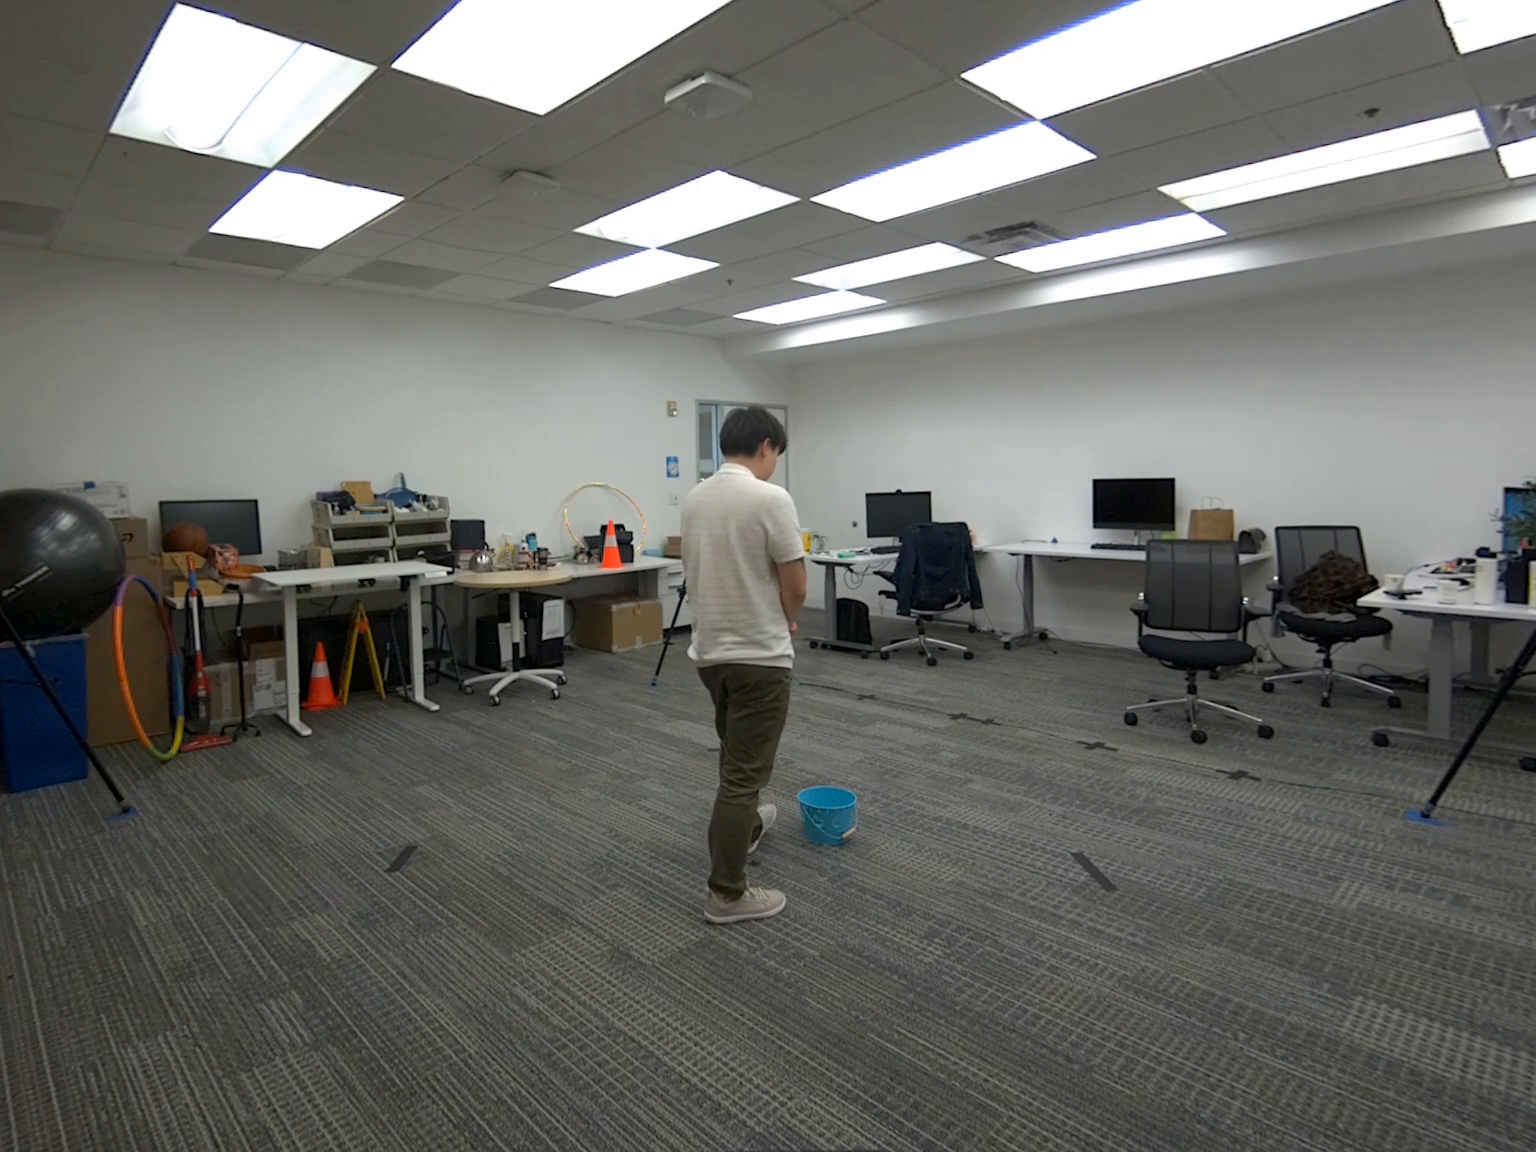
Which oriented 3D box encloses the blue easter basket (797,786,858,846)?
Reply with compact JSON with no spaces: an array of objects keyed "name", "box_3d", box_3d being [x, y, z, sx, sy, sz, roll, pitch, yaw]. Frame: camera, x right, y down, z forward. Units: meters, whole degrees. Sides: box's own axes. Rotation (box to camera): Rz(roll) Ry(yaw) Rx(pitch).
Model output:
[{"name":"blue easter basket","box_3d":[0.230,0.932,3.334,0.243,0.155,0.245,-2,5,-2]}]
